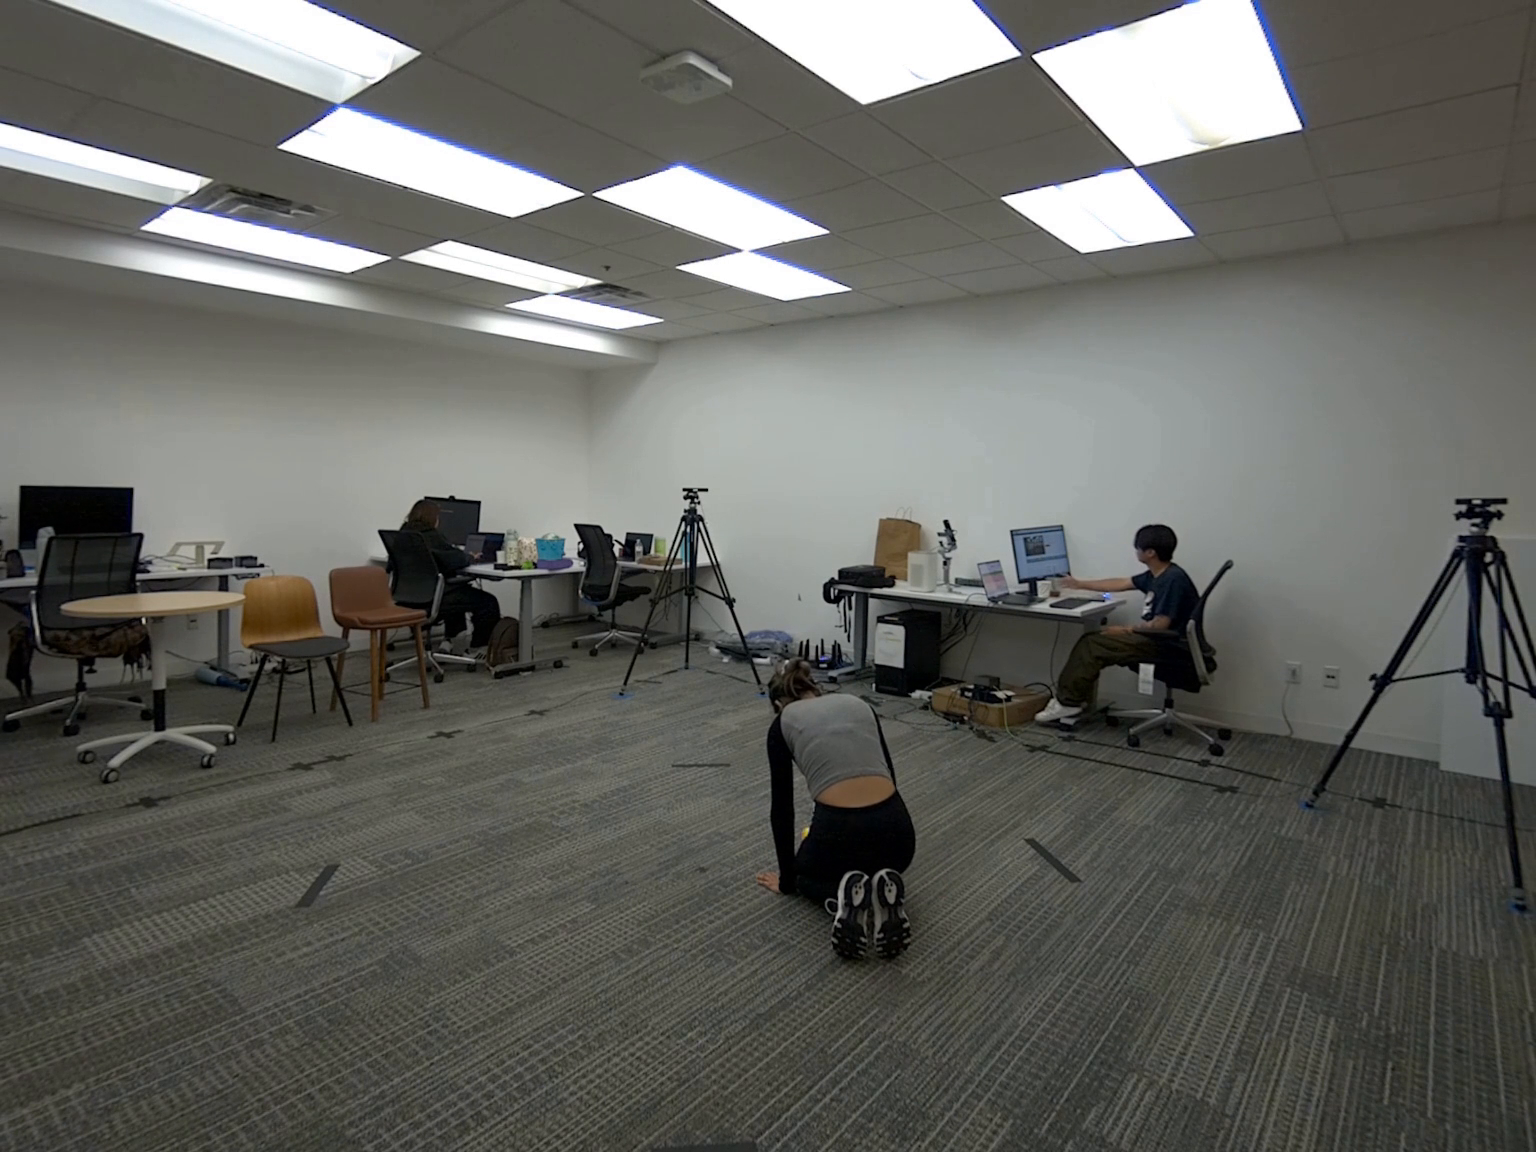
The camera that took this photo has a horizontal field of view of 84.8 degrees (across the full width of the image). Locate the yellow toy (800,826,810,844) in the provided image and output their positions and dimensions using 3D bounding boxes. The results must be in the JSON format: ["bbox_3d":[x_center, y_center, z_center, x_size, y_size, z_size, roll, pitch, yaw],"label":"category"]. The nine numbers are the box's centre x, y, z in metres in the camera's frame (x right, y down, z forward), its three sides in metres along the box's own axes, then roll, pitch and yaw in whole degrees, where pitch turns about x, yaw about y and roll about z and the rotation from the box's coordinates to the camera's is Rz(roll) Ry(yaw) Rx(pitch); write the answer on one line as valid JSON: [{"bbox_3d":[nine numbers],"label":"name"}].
[{"bbox_3d":[0.236,0.932,3.366,0.201,0.230,0.197,0,4,-19],"label":"yellow toy"}]
